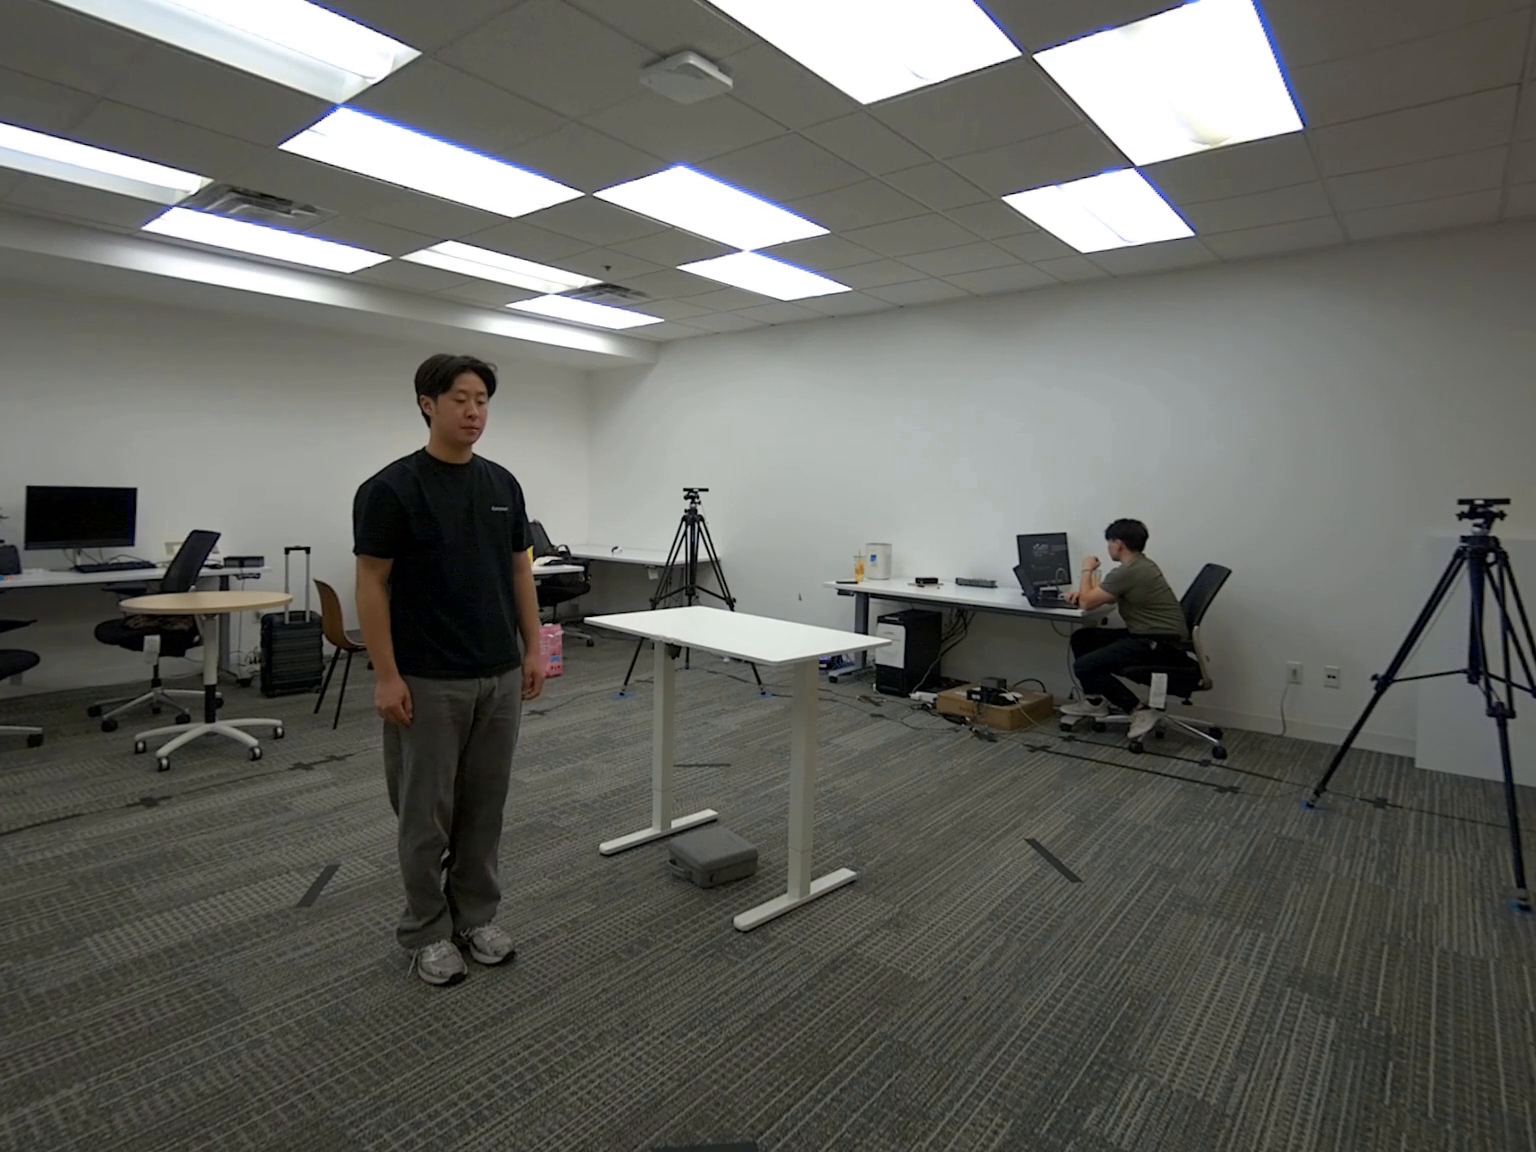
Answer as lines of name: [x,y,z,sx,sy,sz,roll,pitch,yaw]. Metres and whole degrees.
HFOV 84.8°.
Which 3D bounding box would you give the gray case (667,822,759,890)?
gray case: [-0.208,1.012,3.106,0.279,0.103,0.272,-2,6,-34]
